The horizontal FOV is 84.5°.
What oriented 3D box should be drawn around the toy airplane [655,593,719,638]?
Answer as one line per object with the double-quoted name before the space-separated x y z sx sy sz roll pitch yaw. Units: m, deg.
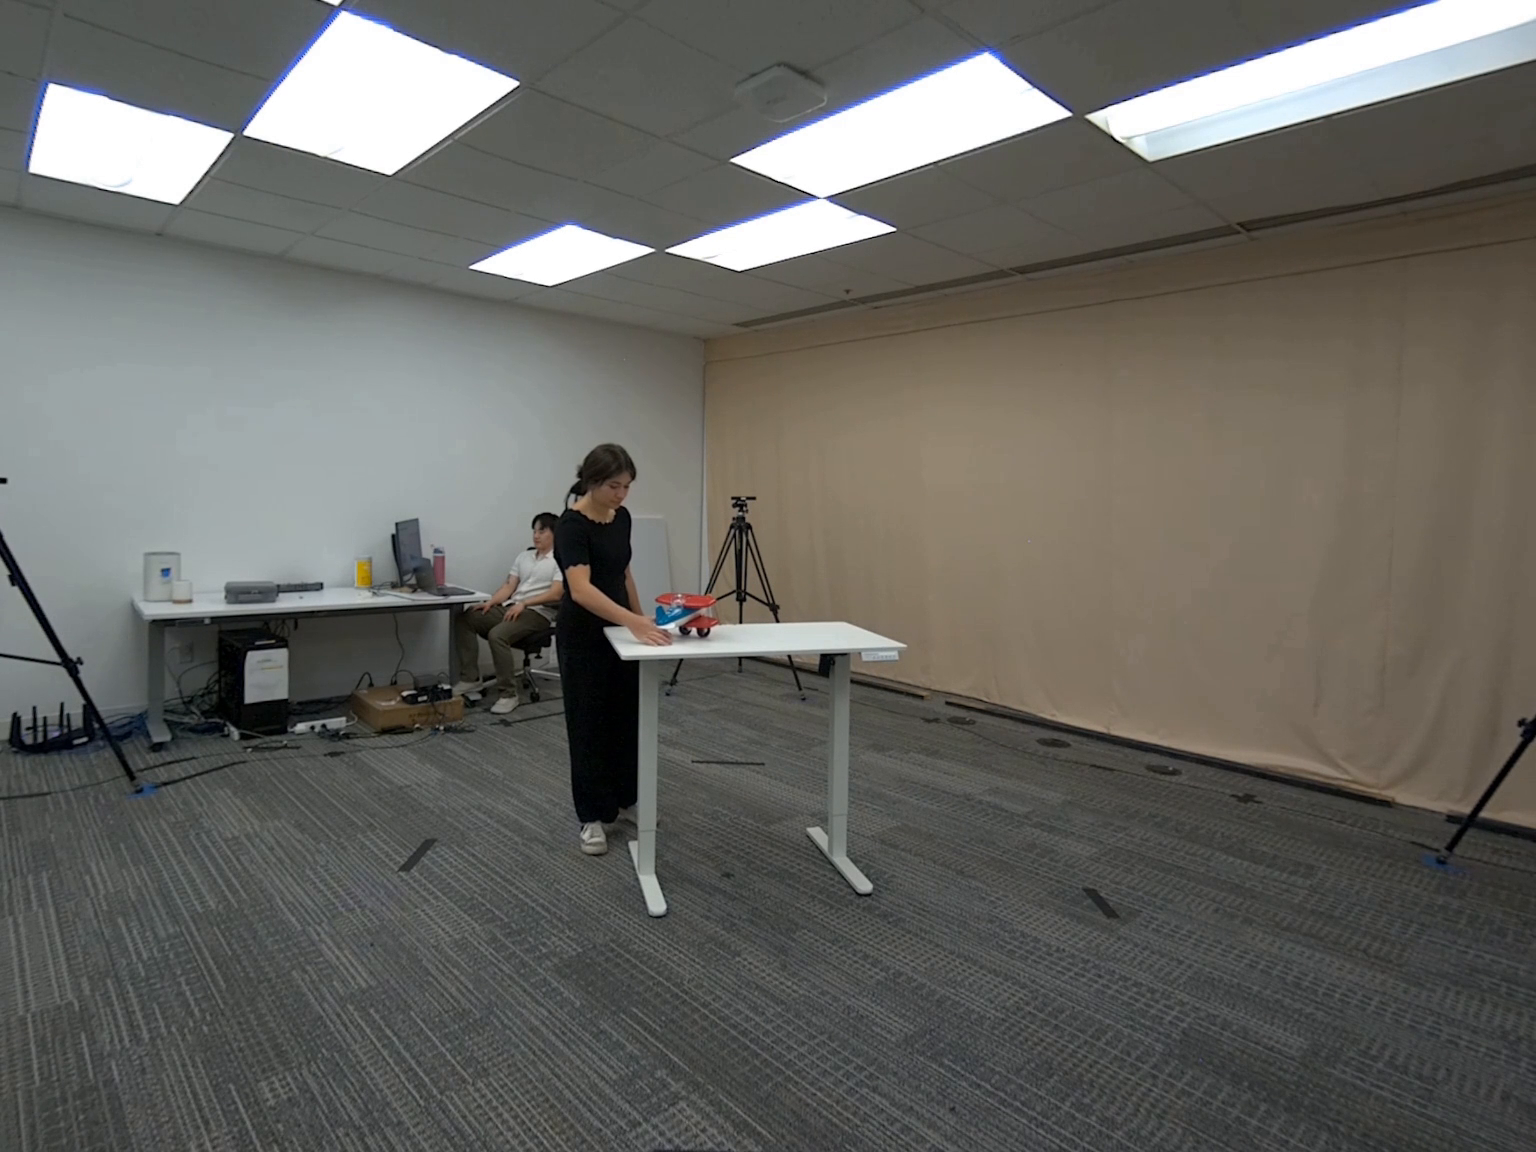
"toy airplane" -0.306 0.152 3.028 0.252 0.156 0.258 2 3 4
